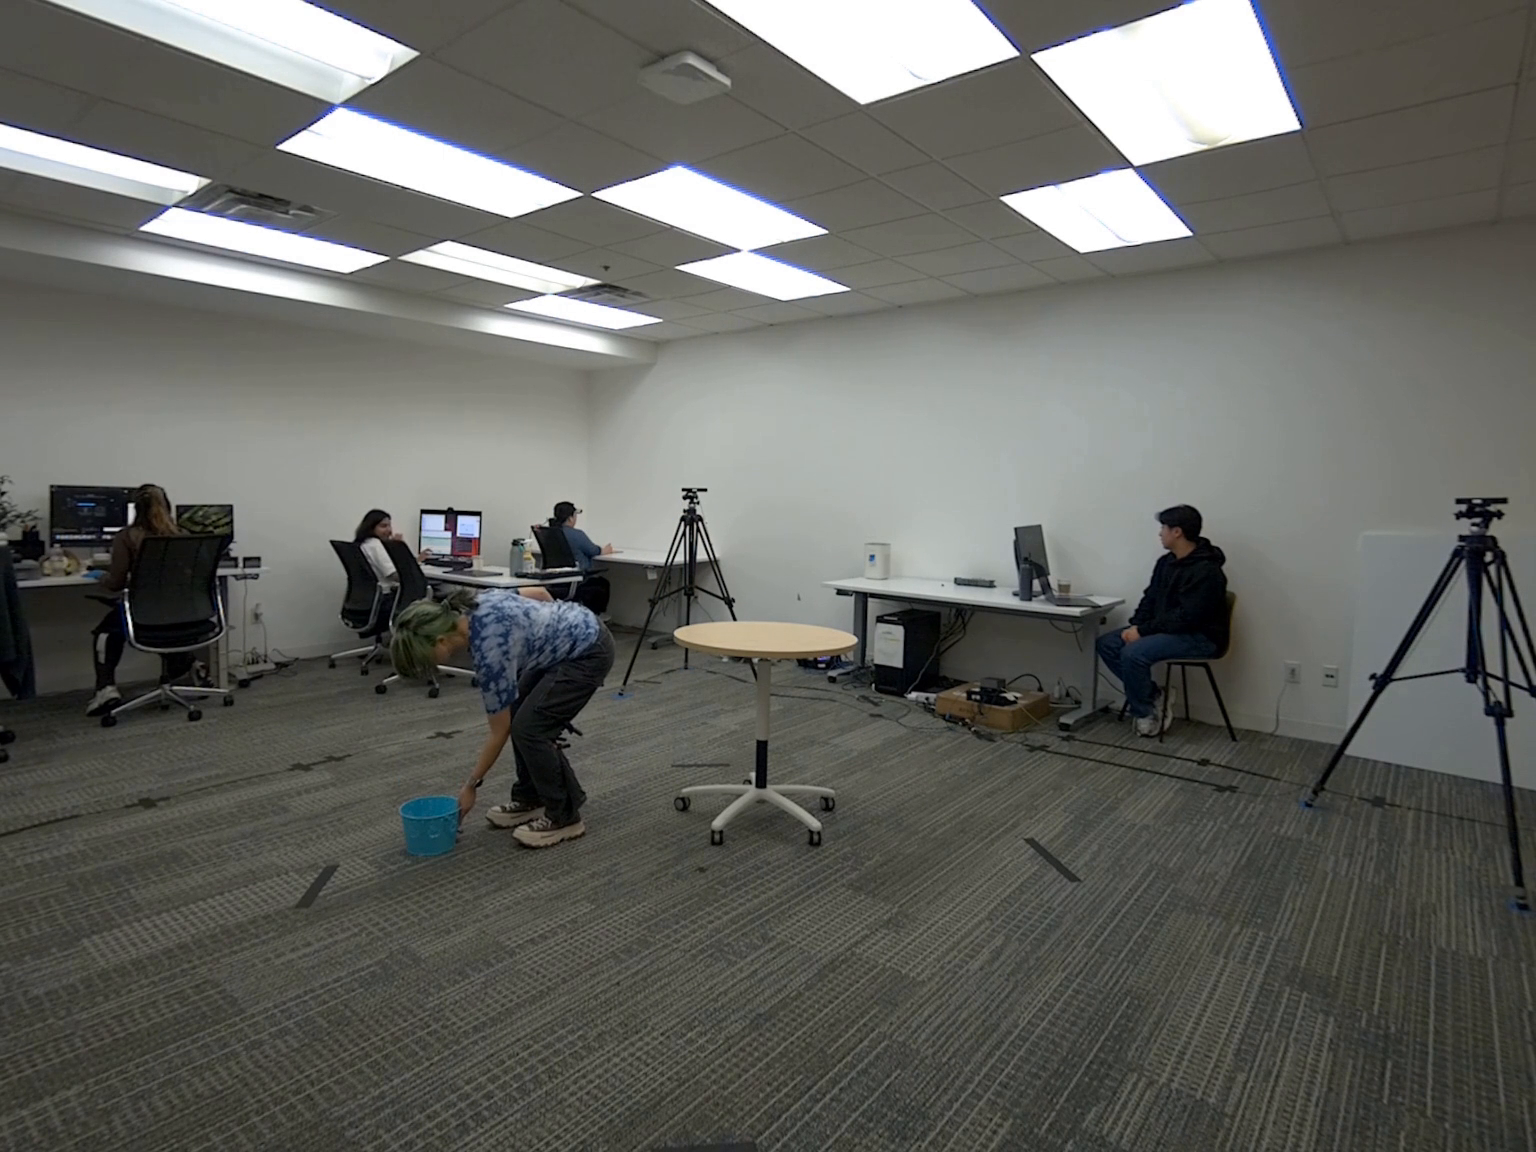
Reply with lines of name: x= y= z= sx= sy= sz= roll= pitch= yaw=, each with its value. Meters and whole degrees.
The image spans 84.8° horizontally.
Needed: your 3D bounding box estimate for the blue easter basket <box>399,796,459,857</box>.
blue easter basket: x=-1.310 y=0.963 z=3.275 sx=0.243 sy=0.155 sz=0.245 roll=0 pitch=6 yaw=-2
